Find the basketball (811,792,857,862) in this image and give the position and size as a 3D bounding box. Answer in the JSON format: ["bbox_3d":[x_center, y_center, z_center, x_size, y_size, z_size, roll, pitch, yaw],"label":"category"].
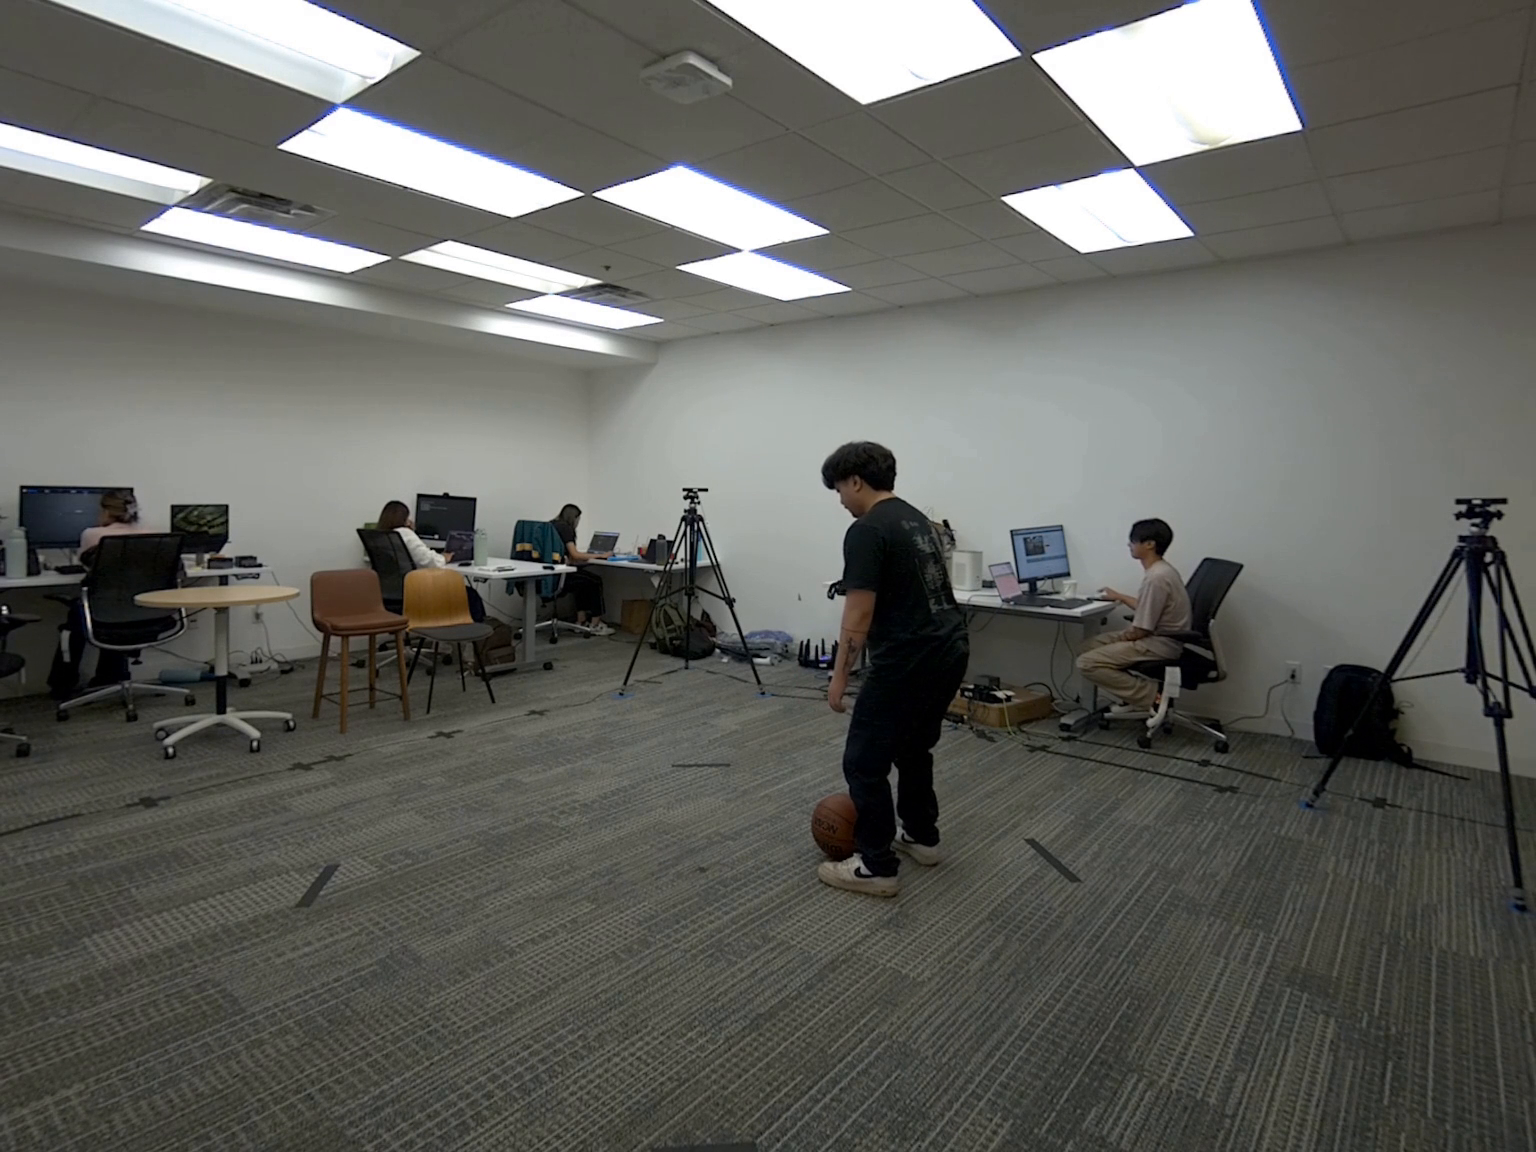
[{"bbox_3d":[0.266,0.946,3.235,0.235,0.235,0.237,1,4,-2],"label":"basketball"}]
